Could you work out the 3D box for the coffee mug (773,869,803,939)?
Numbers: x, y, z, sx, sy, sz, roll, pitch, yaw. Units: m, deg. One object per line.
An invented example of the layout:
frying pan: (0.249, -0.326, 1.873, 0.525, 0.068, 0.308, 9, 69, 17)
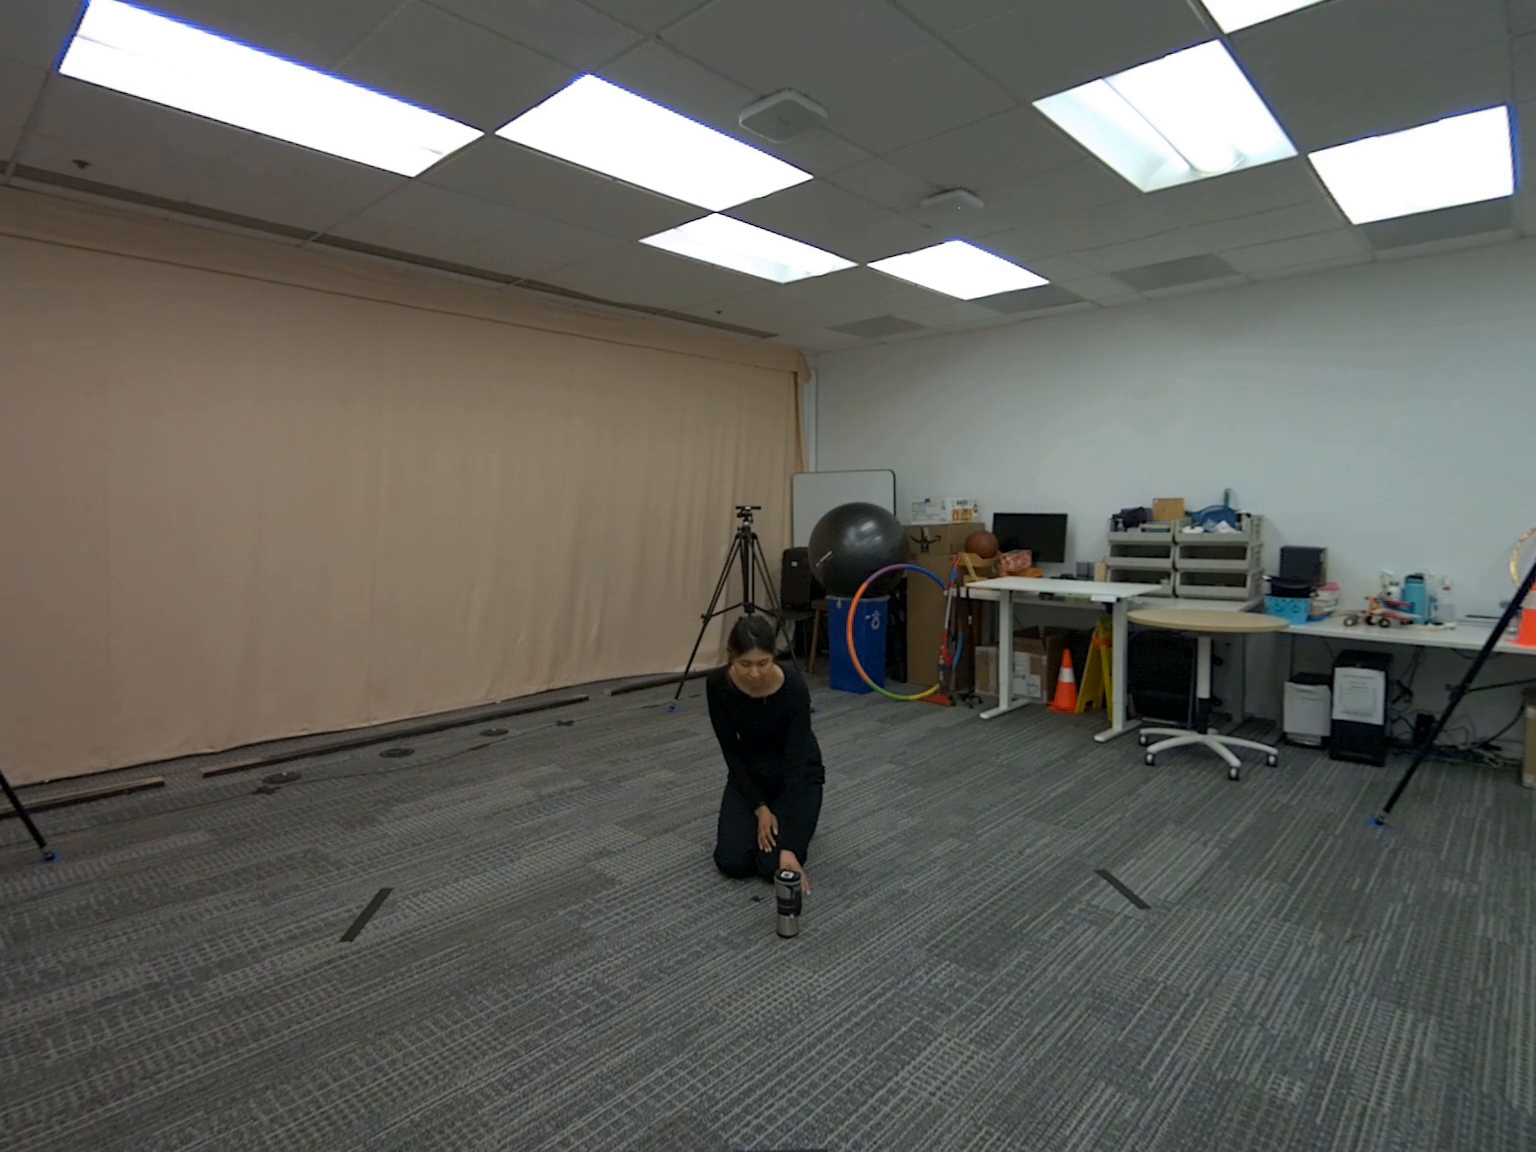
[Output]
coffee mug: (0.060, 1.062, 2.716, 0.088, 0.203, 0.121, 2, 2, 4)
